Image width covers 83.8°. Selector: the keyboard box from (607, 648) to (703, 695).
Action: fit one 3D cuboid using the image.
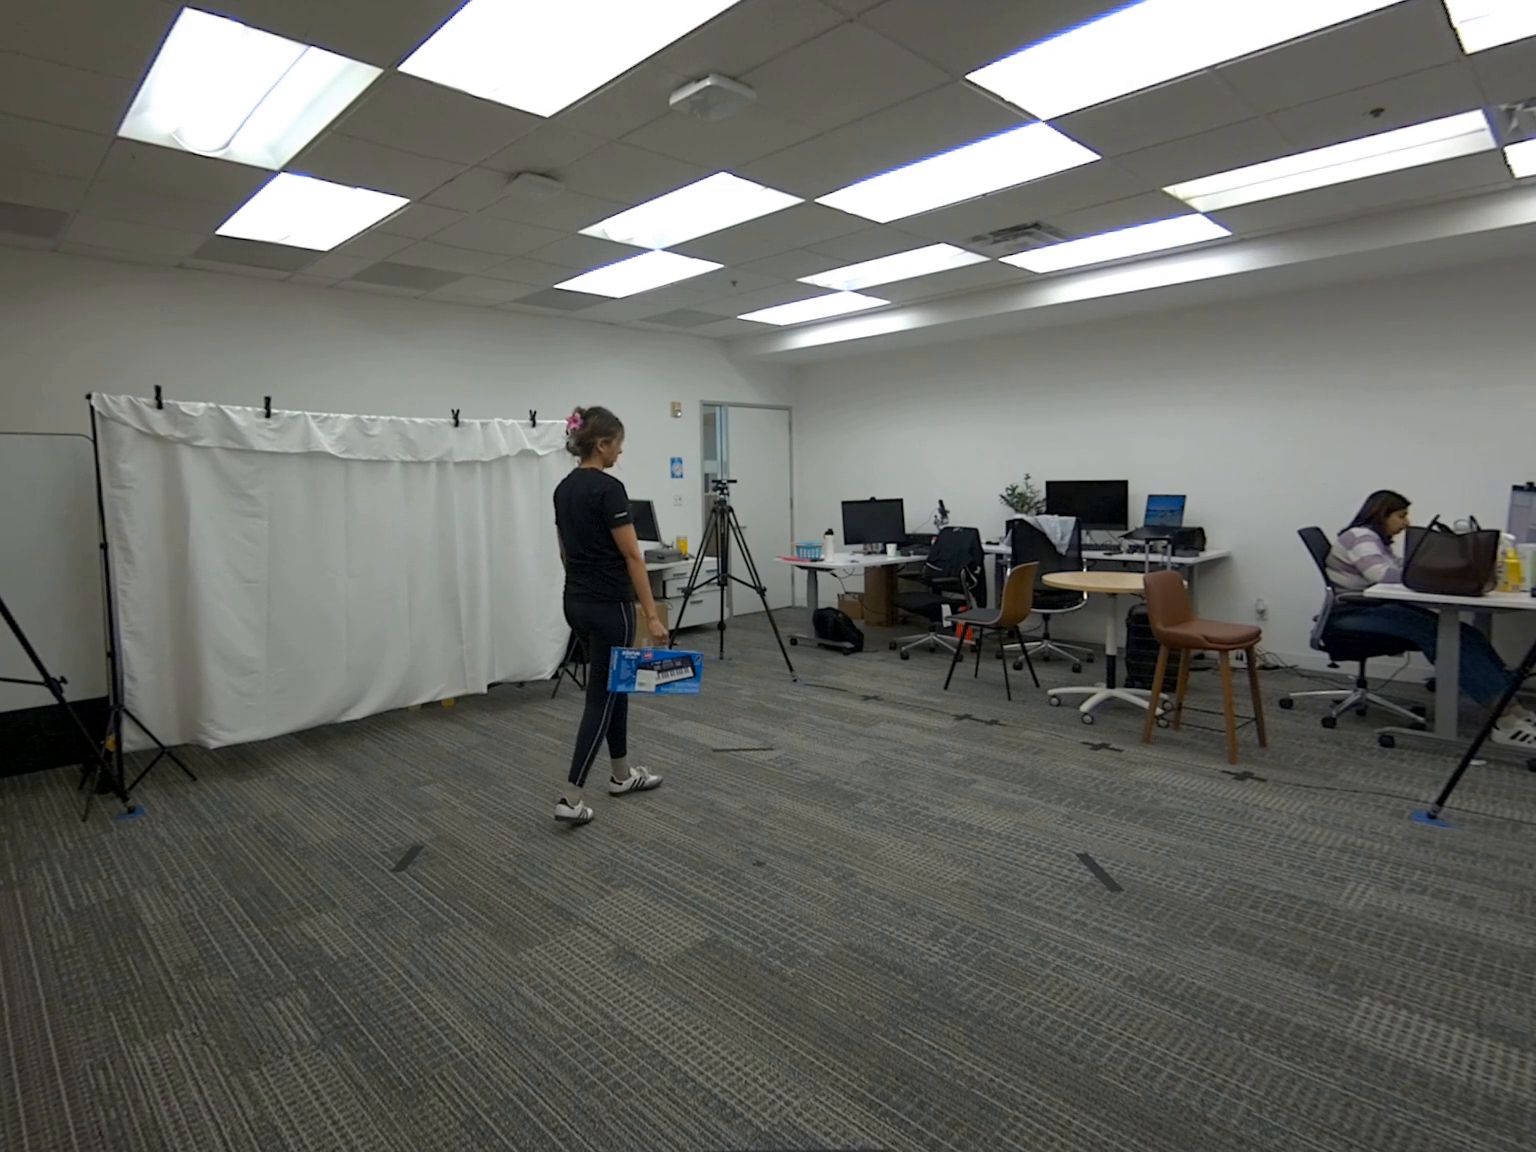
[{"bbox_3d":[-0.452,0.390,3.478,0.422,0.176,0.061,8,-5,-44],"label":"keyboard box"}]
